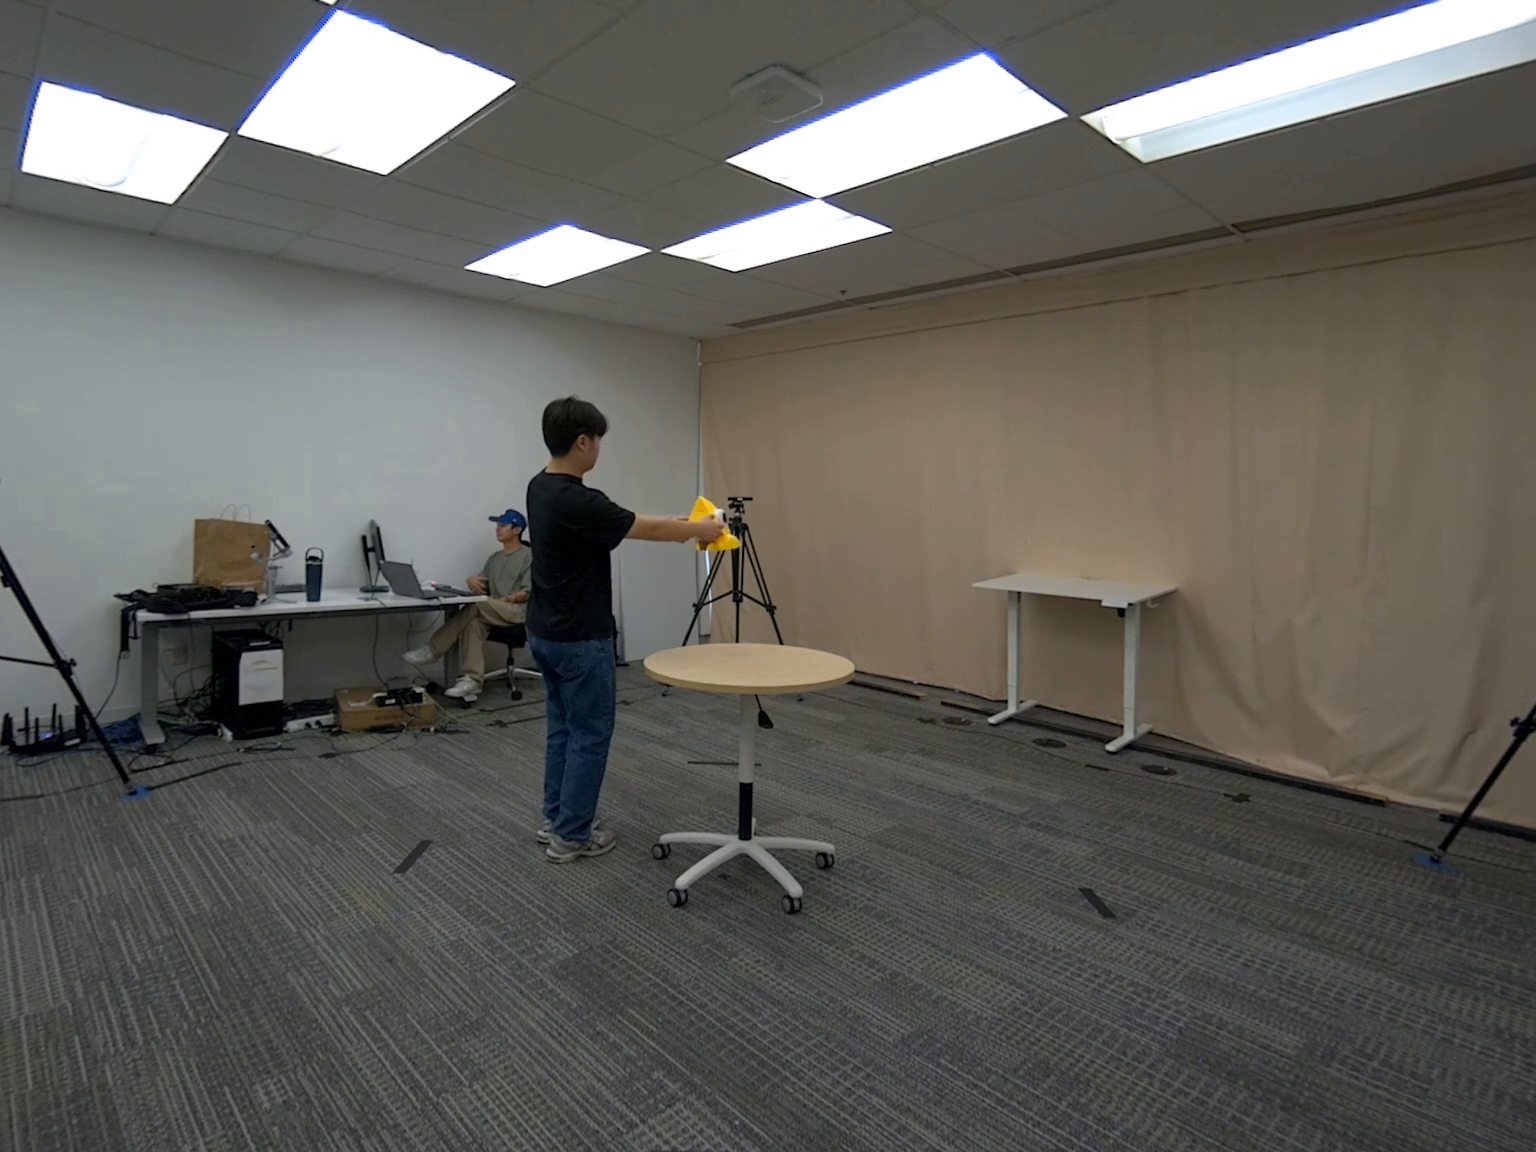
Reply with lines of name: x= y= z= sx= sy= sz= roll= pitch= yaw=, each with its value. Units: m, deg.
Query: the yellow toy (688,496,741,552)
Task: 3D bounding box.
yellow toy: x=-0.254 y=-0.230 z=3.562 sx=0.189 sy=0.229 sz=0.210 roll=-12 pitch=10 yaw=-40
